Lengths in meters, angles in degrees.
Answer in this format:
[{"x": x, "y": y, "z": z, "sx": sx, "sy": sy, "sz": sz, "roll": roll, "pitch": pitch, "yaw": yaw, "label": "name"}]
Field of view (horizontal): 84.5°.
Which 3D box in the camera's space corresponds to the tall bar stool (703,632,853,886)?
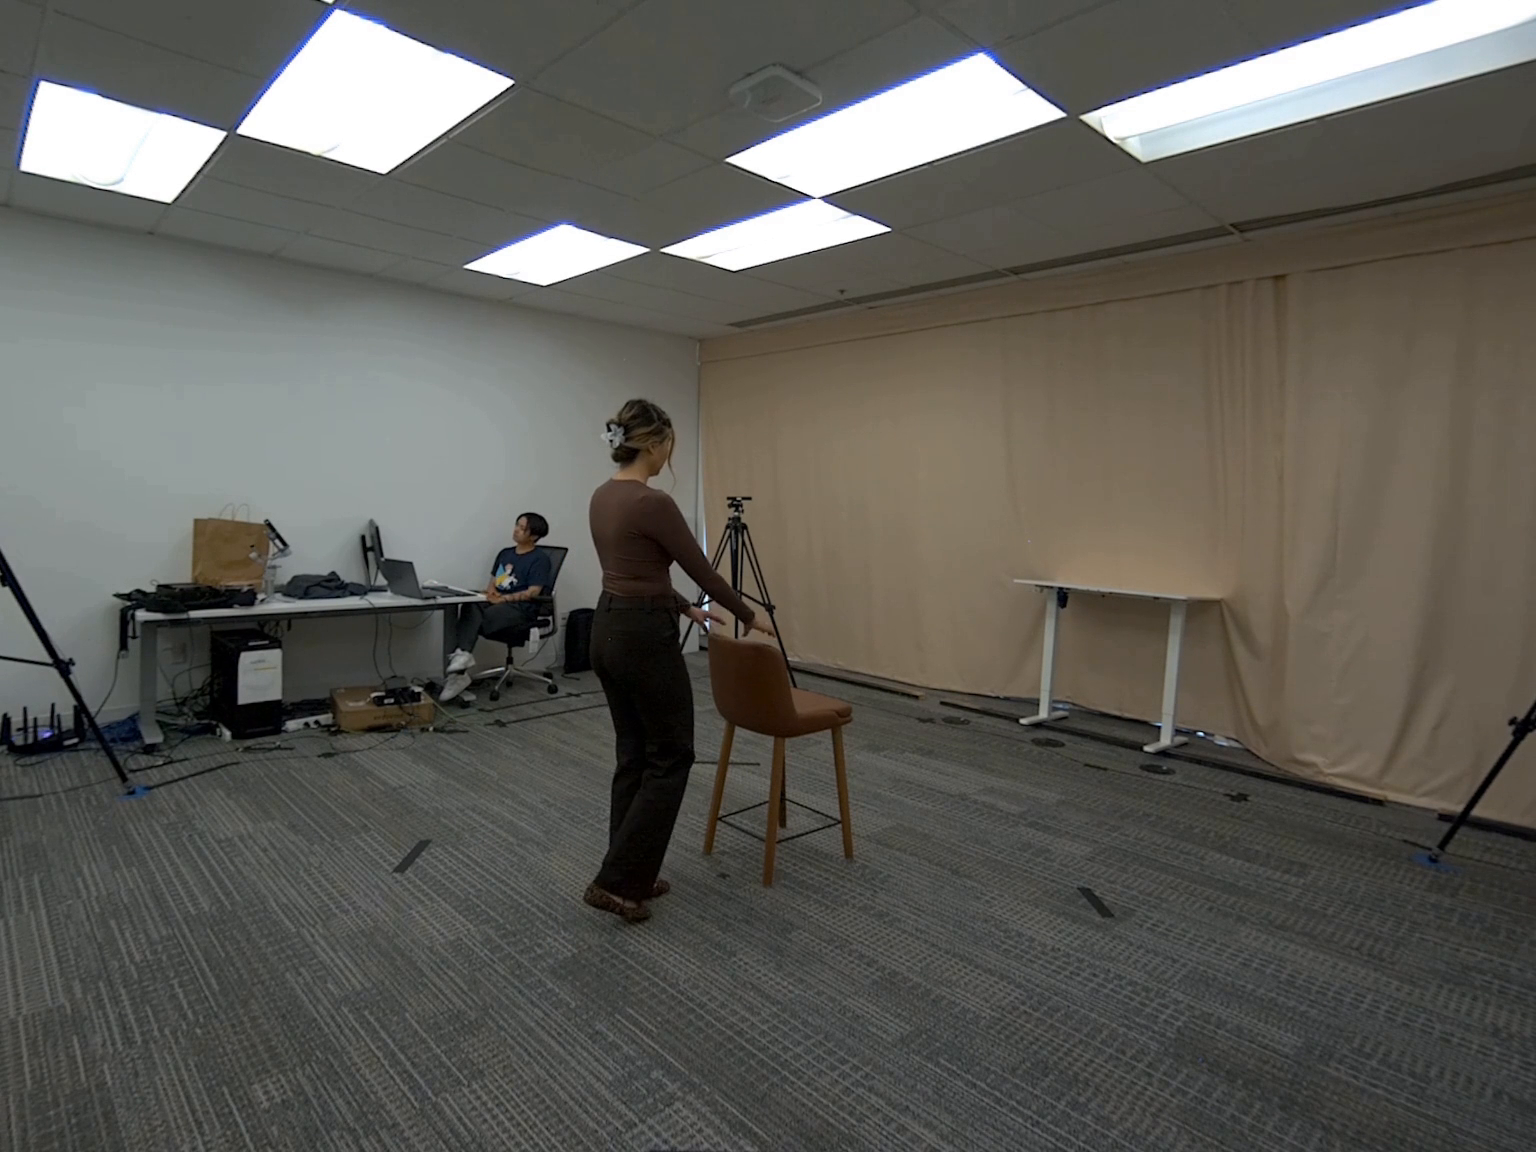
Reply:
[{"x": 0.033, "y": 0.659, "z": 3.275, "sx": 0.457, "sy": 0.887, "sz": 0.468, "roll": -4, "pitch": 6, "yaw": -41, "label": "tall bar stool"}]
